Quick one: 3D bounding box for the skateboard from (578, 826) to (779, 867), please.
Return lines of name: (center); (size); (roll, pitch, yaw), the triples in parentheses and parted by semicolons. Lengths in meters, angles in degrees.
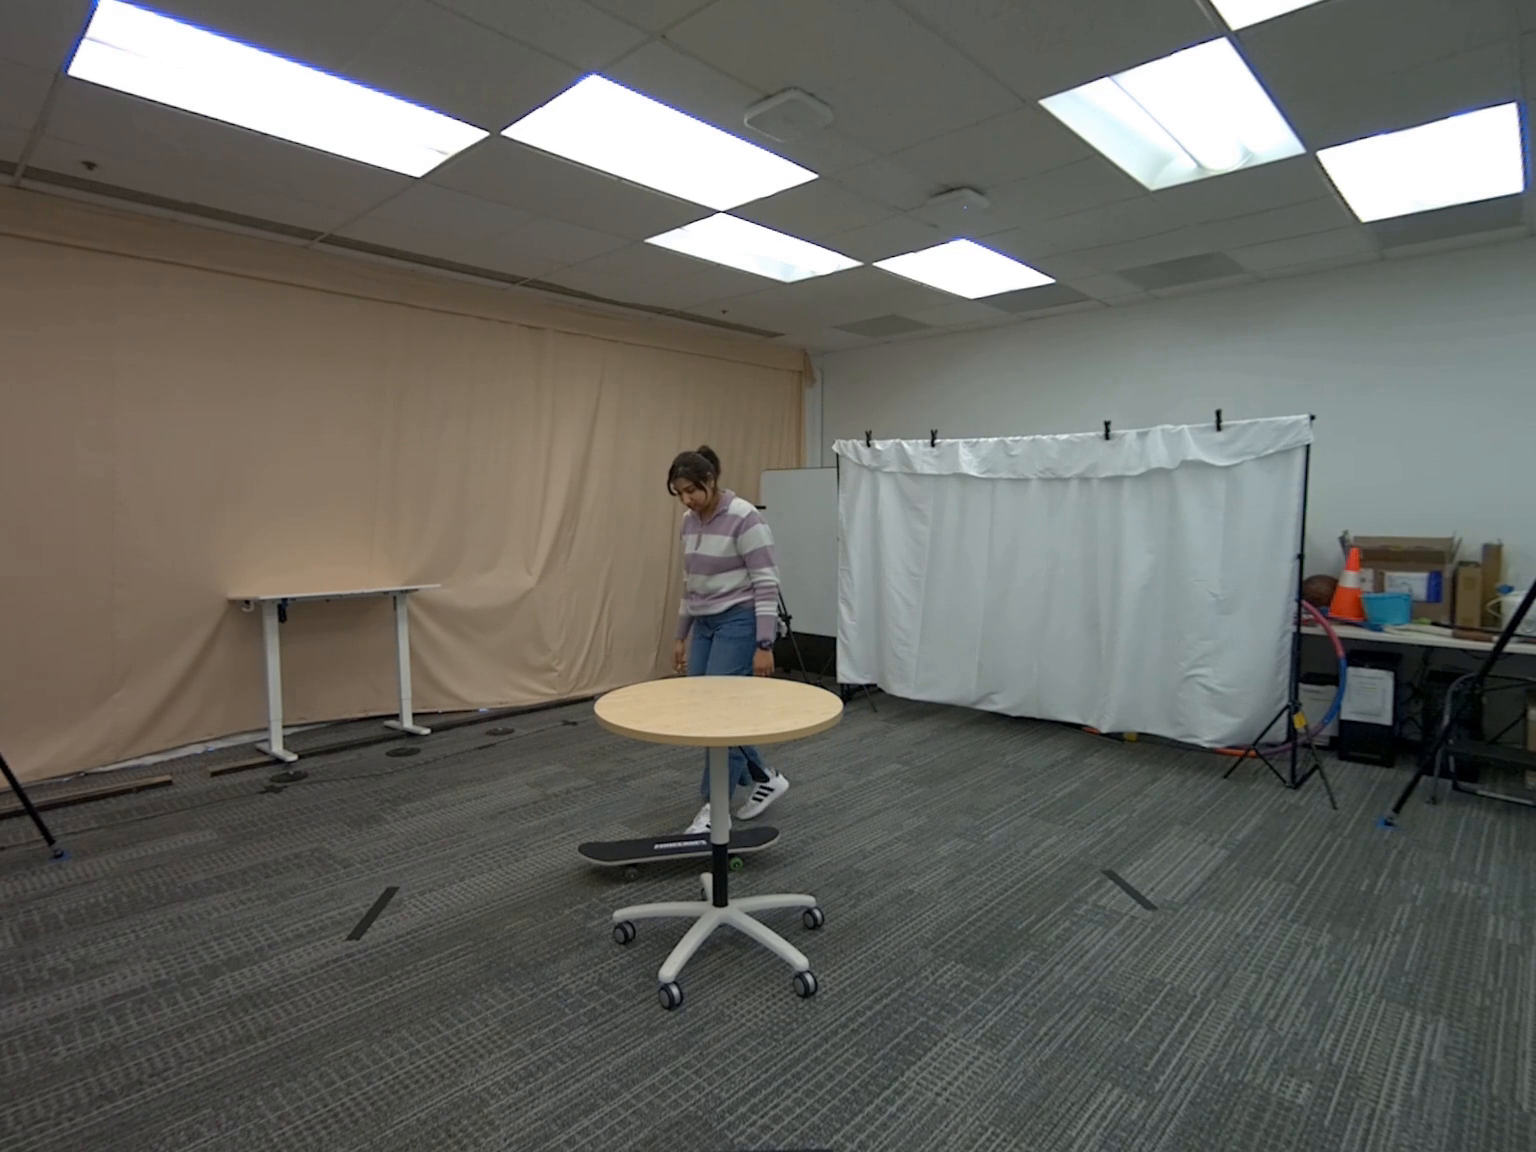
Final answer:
skateboard: (-0.337, 1.066, 3.238); (0.776, 0.110, 0.196); (-1, 4, -11)
